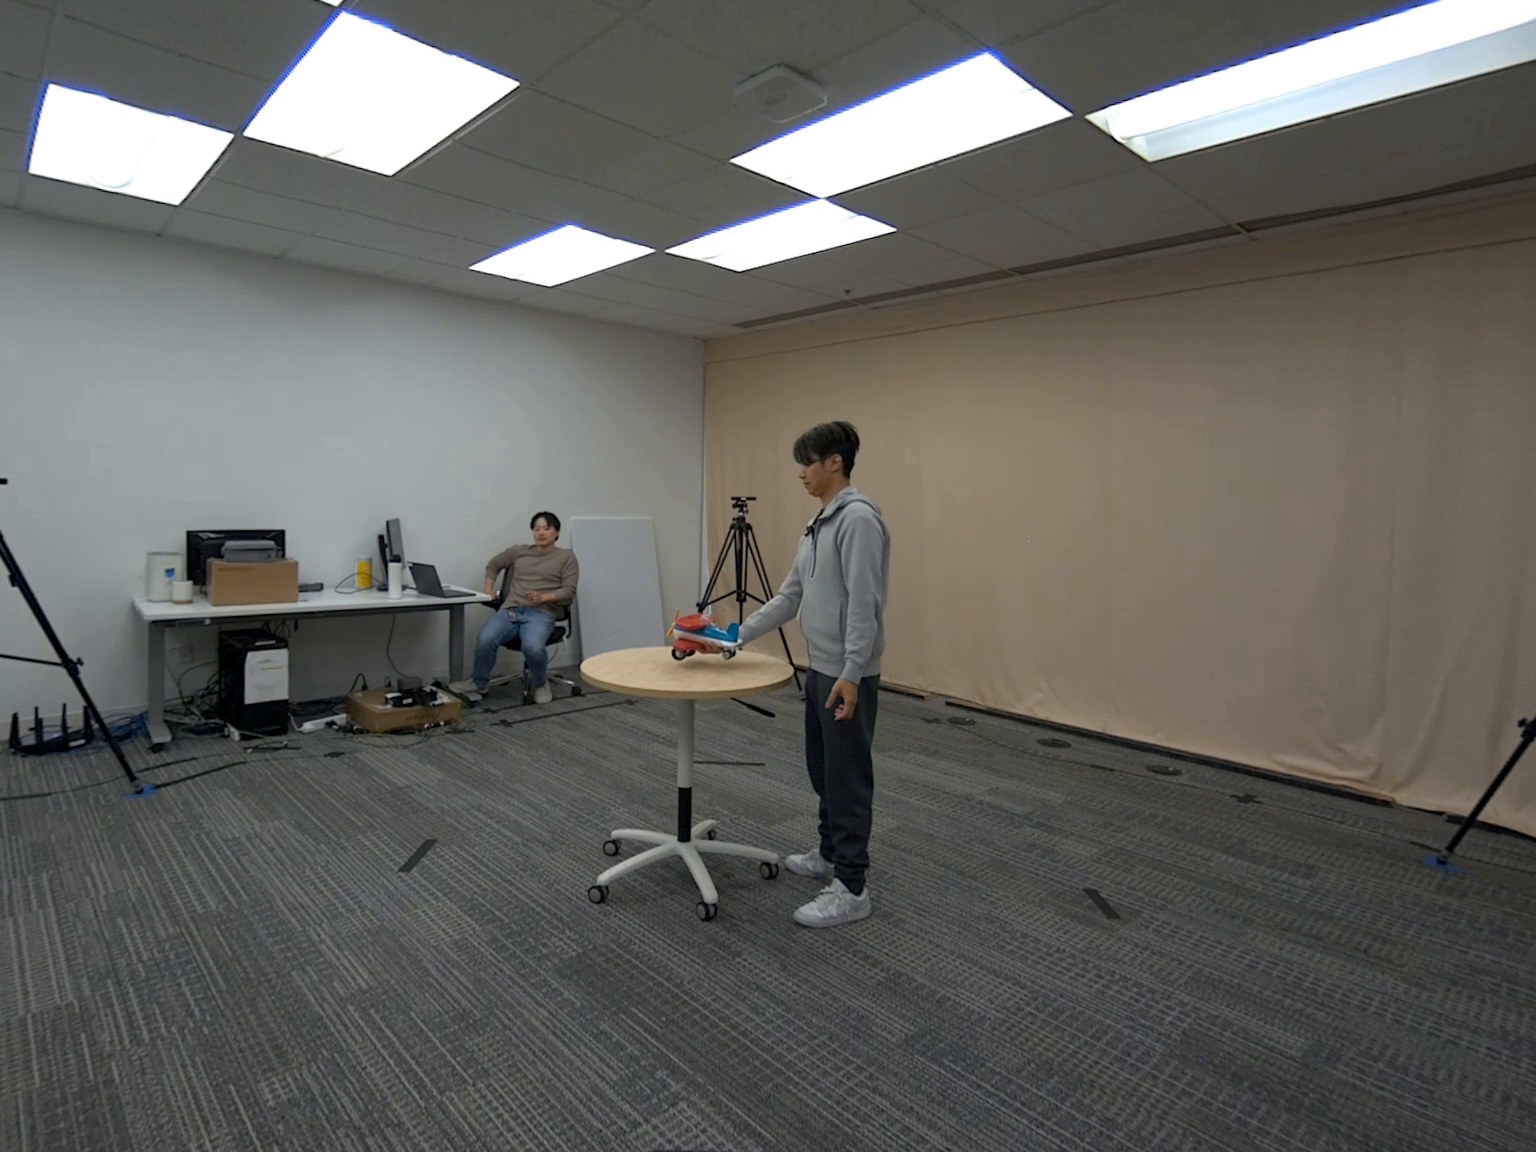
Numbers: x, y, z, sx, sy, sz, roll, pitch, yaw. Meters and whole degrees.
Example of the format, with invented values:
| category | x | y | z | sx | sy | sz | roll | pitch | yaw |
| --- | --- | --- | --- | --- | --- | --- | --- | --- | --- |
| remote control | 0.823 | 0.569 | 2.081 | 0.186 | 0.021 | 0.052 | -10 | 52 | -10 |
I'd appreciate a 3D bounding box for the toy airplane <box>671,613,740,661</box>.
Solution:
| category | x | y | z | sx | sy | sz | roll | pitch | yaw |
| --- | --- | --- | --- | --- | --- | --- | --- | --- | --- |
| toy airplane | -0.224 | 0.220 | 3.056 | 0.257 | 0.156 | 0.253 | -4 | 3 | -9 |
